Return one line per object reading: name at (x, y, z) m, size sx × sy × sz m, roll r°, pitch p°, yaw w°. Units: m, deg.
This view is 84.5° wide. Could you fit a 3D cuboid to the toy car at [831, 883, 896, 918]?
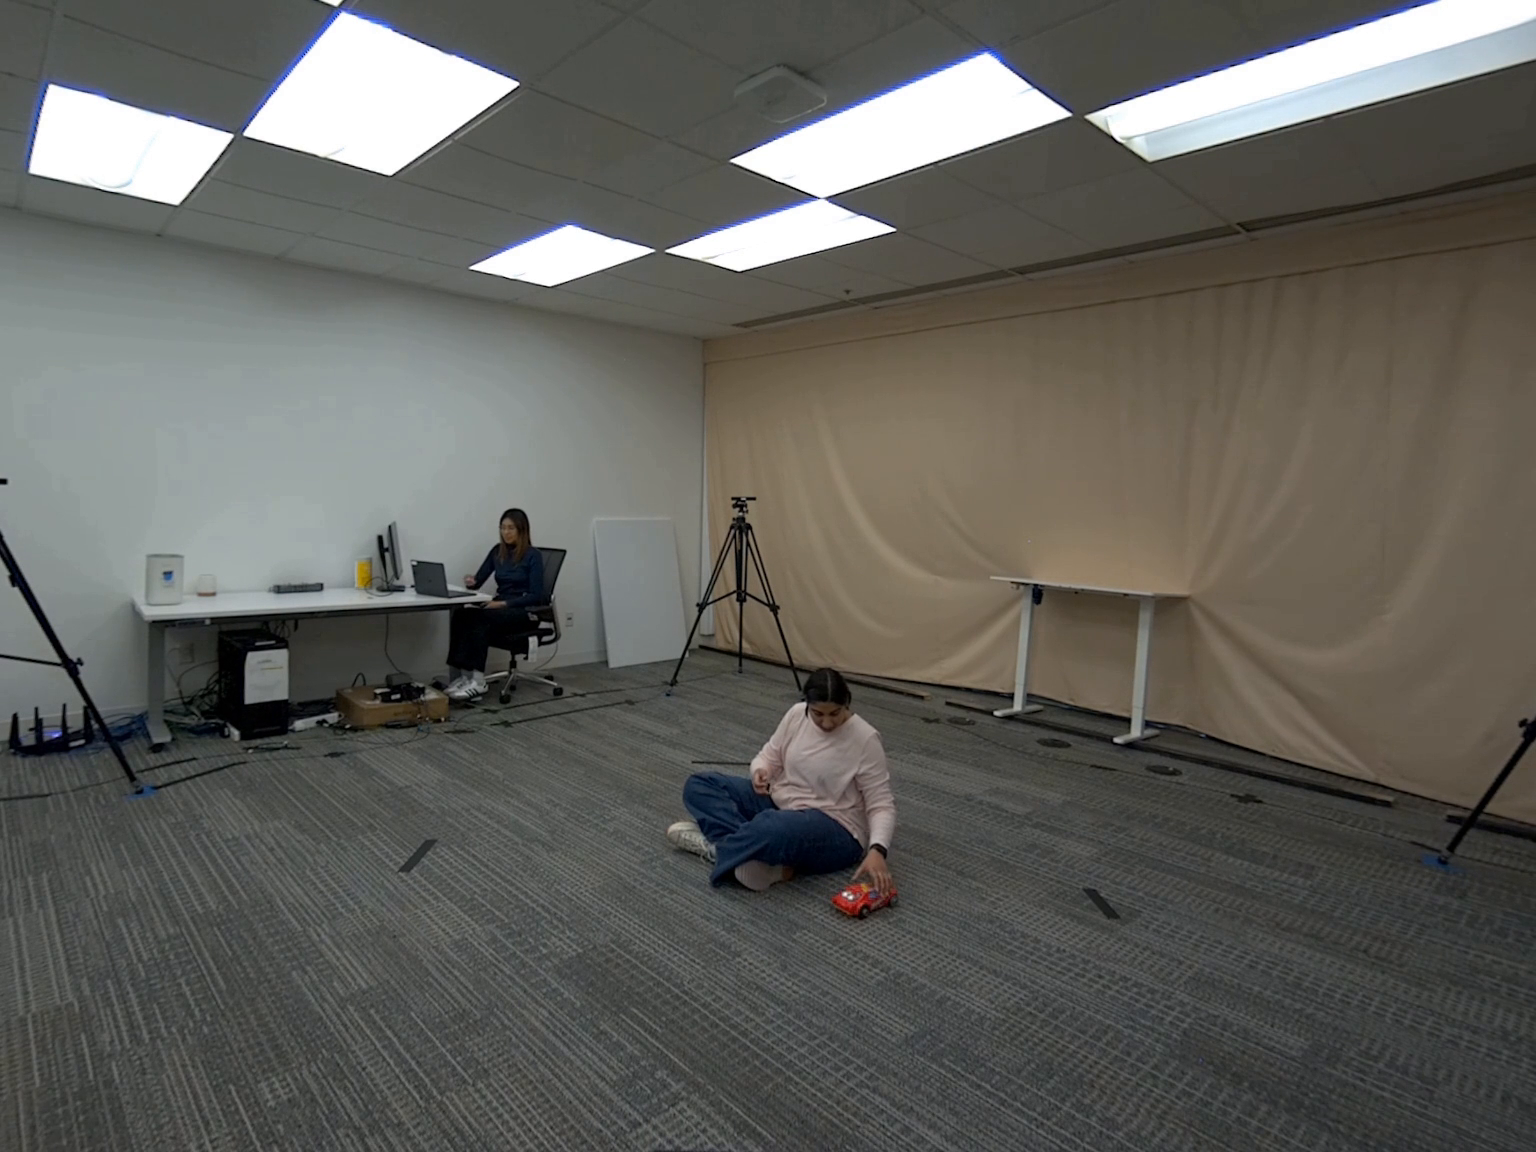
toy car at (0.312, 1.108, 2.869) m, size 0.248 × 0.083 × 0.133 m, roll 13°, pitch -4°, yaw -35°
